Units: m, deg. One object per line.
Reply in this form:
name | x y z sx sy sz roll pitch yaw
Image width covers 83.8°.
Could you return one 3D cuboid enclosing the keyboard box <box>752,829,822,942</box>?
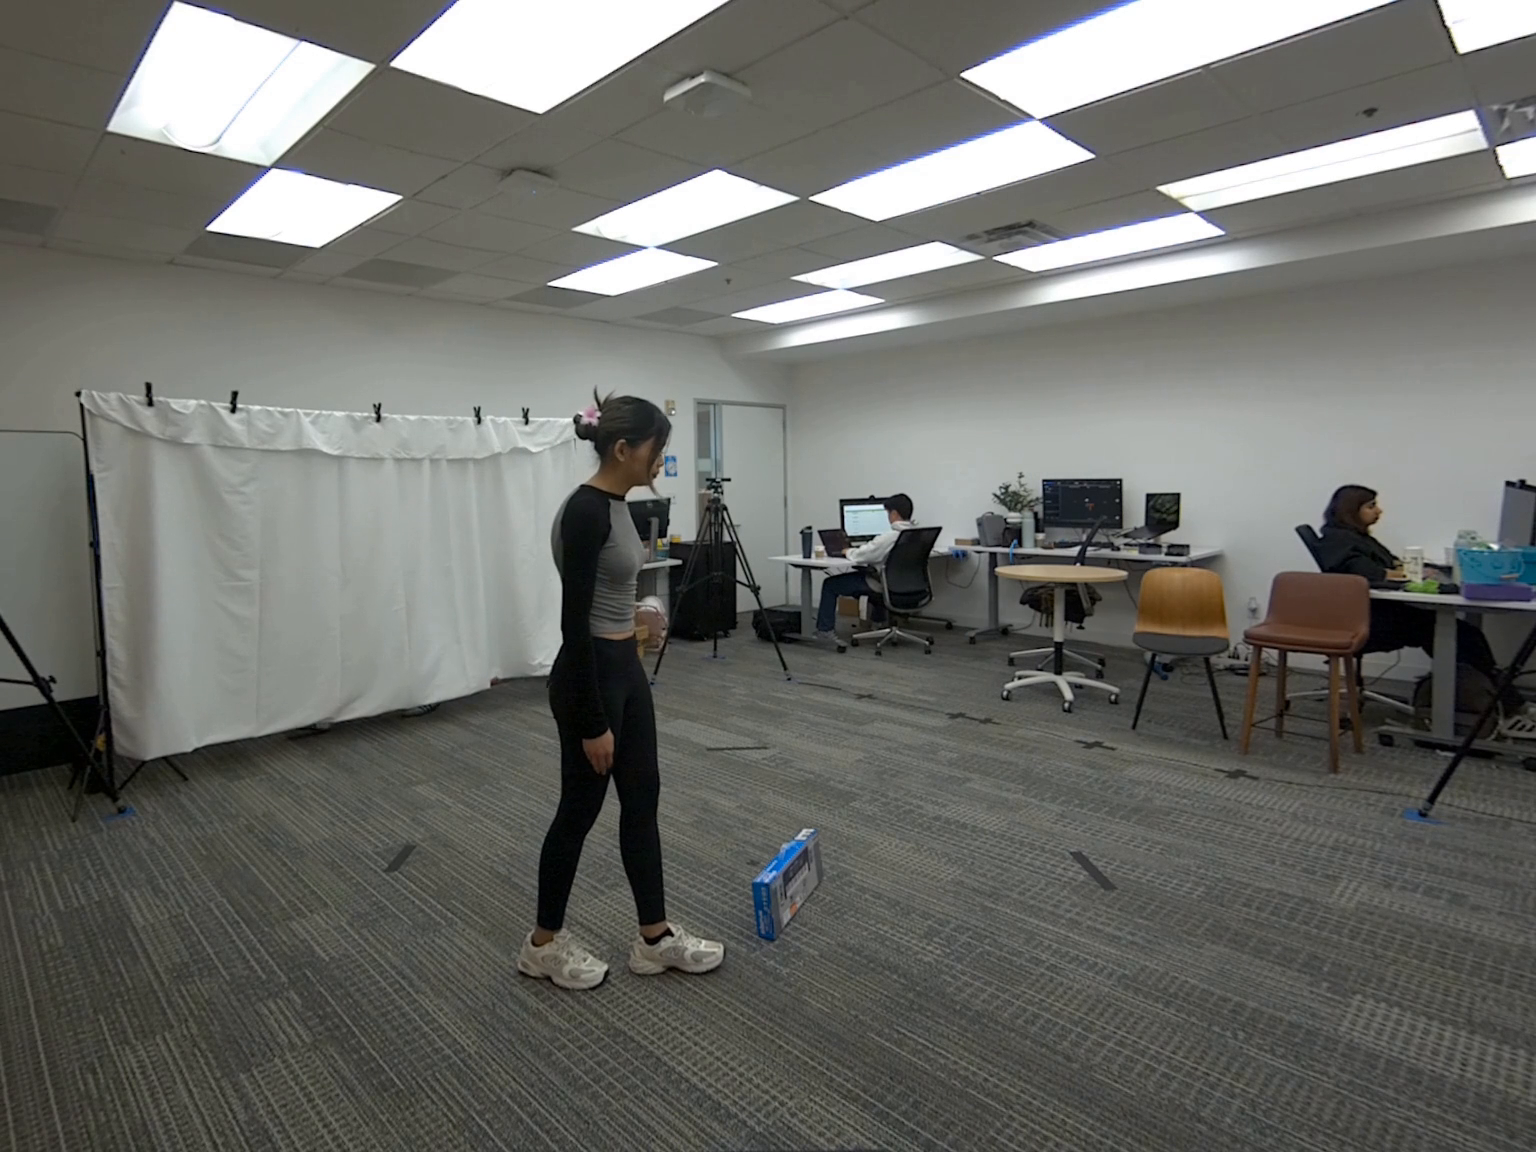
keyboard box | 0.075 0.990 2.781 0.060 0.175 0.429 -6 4 24
